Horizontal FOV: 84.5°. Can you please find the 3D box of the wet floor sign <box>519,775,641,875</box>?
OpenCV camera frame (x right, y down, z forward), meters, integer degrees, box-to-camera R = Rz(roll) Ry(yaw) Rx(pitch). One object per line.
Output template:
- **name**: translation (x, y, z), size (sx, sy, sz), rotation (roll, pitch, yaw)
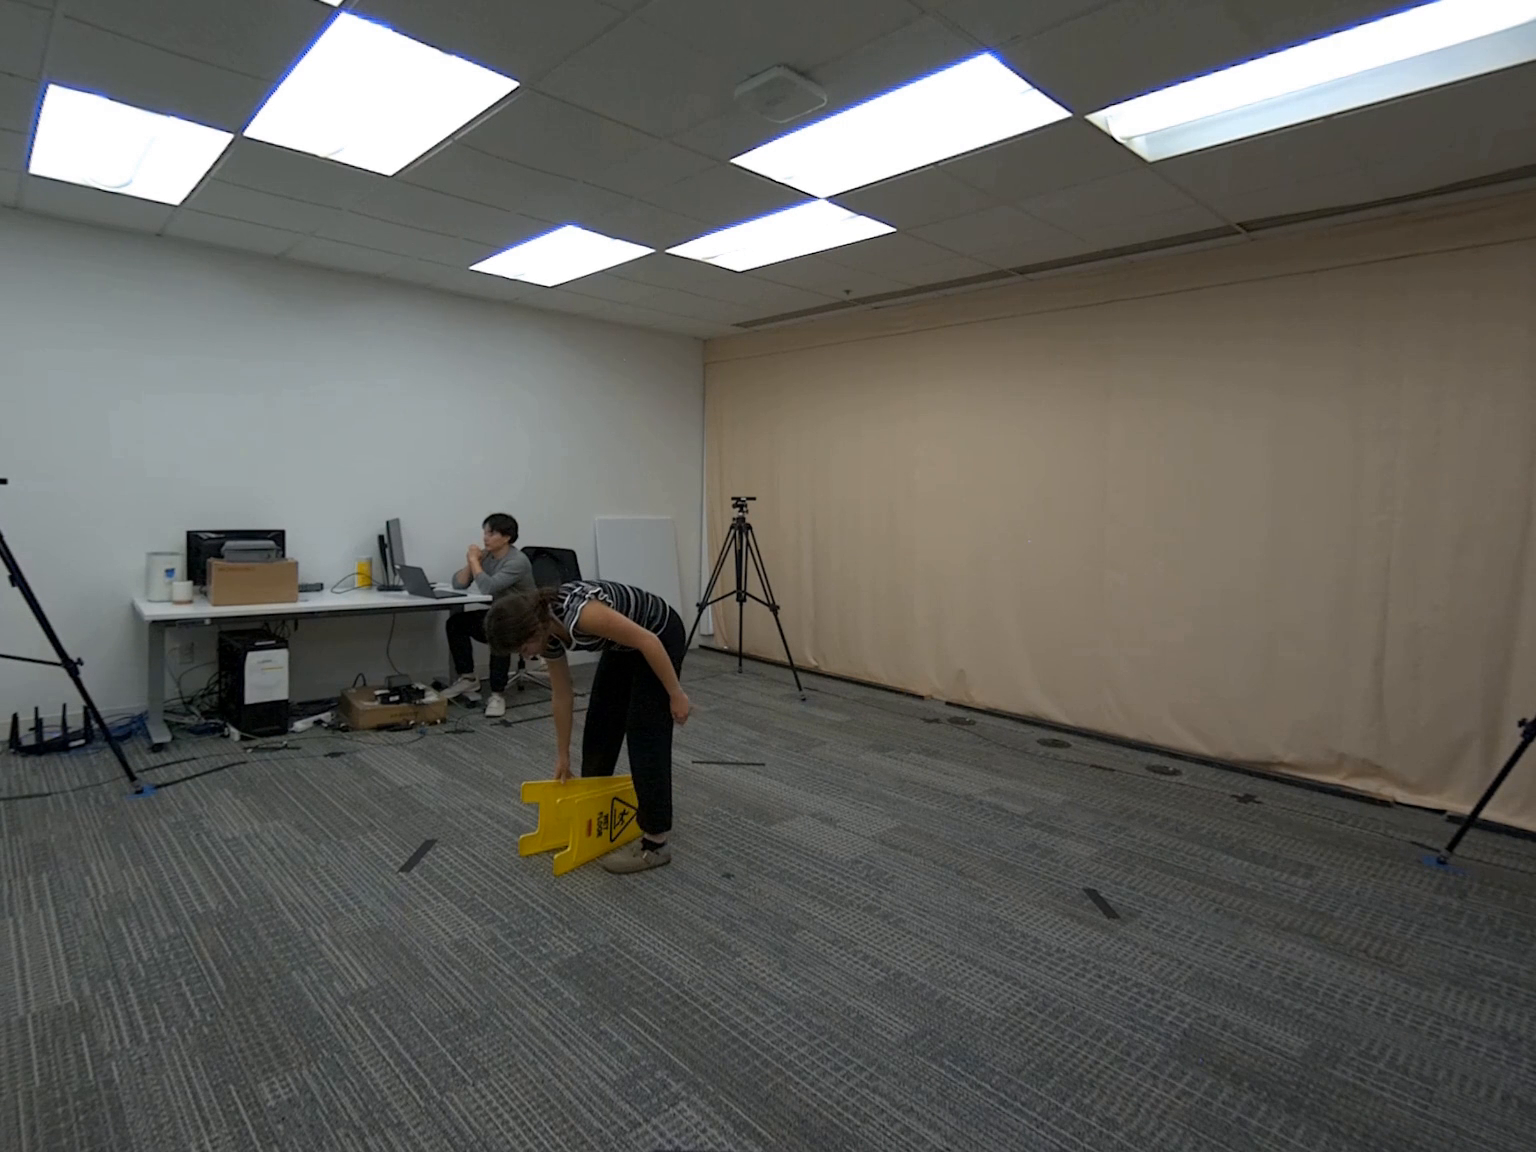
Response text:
- **wet floor sign**: translation (-0.655, 0.947, 3.377), size (0.297, 0.282, 0.630), rotation (4, 2, 43)
